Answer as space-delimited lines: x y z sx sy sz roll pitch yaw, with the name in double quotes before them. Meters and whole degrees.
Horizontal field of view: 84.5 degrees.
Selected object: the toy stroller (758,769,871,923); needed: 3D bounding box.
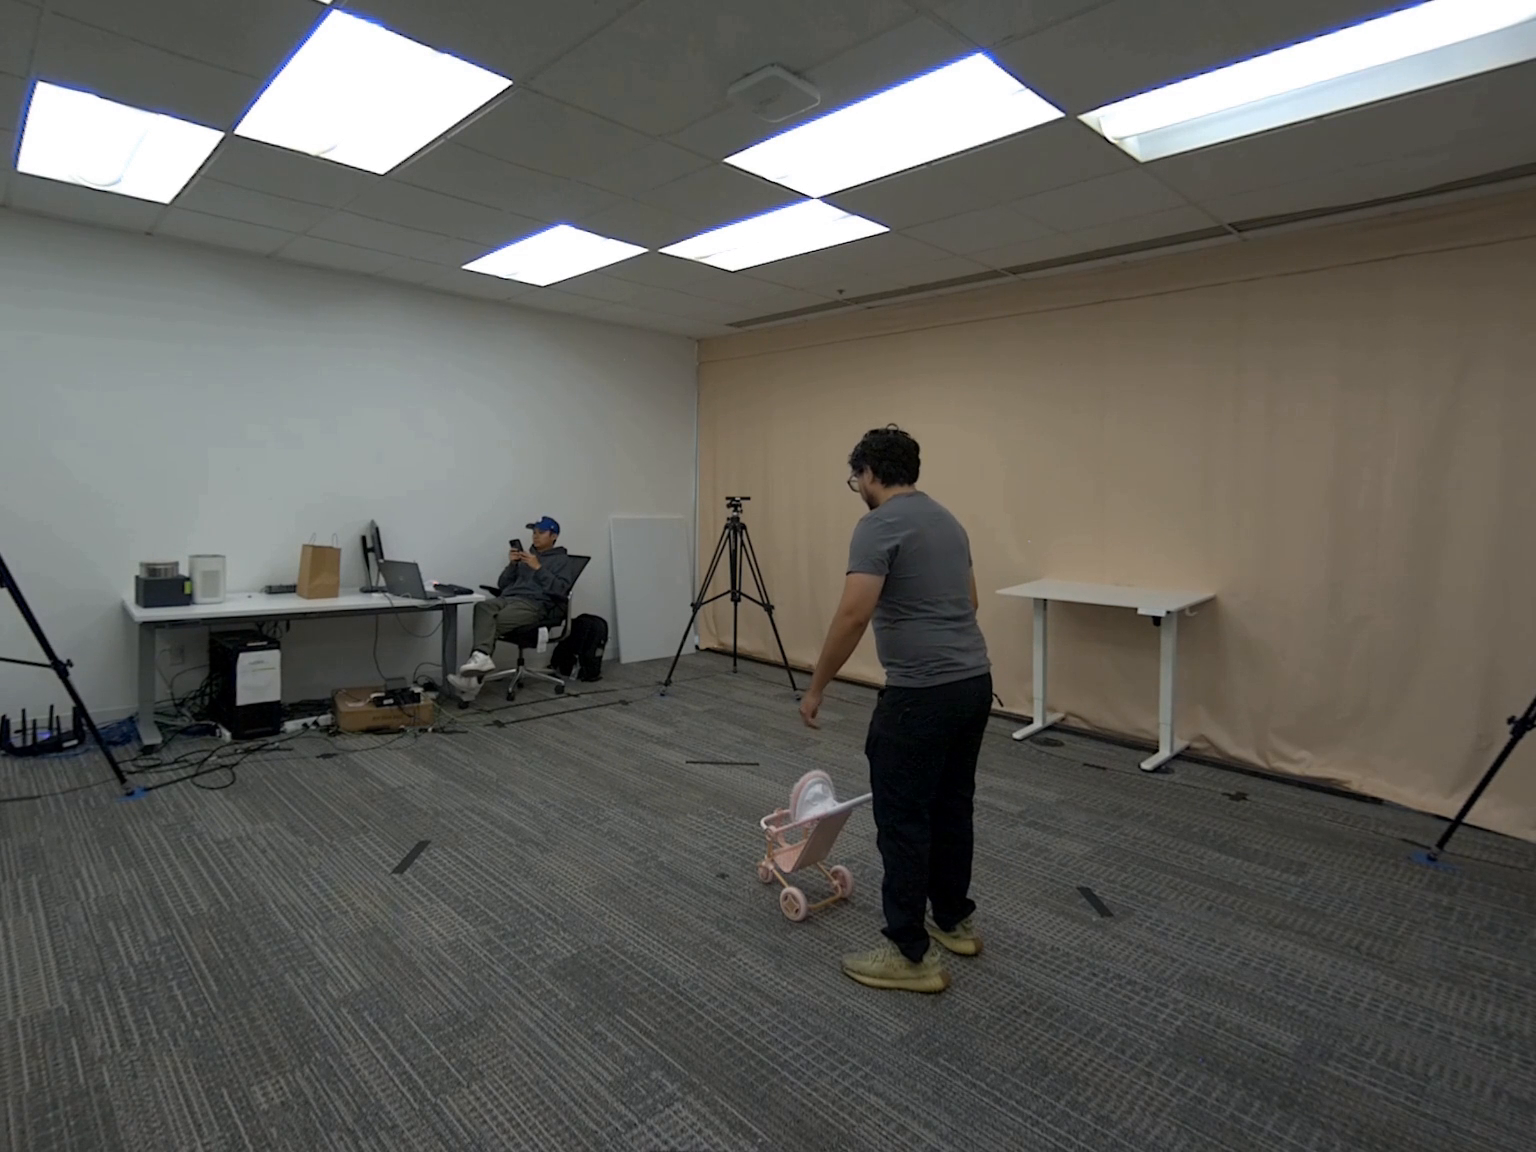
"toy stroller" 0.129 0.907 2.906 0.275 0.530 0.352 -1 21 -40
